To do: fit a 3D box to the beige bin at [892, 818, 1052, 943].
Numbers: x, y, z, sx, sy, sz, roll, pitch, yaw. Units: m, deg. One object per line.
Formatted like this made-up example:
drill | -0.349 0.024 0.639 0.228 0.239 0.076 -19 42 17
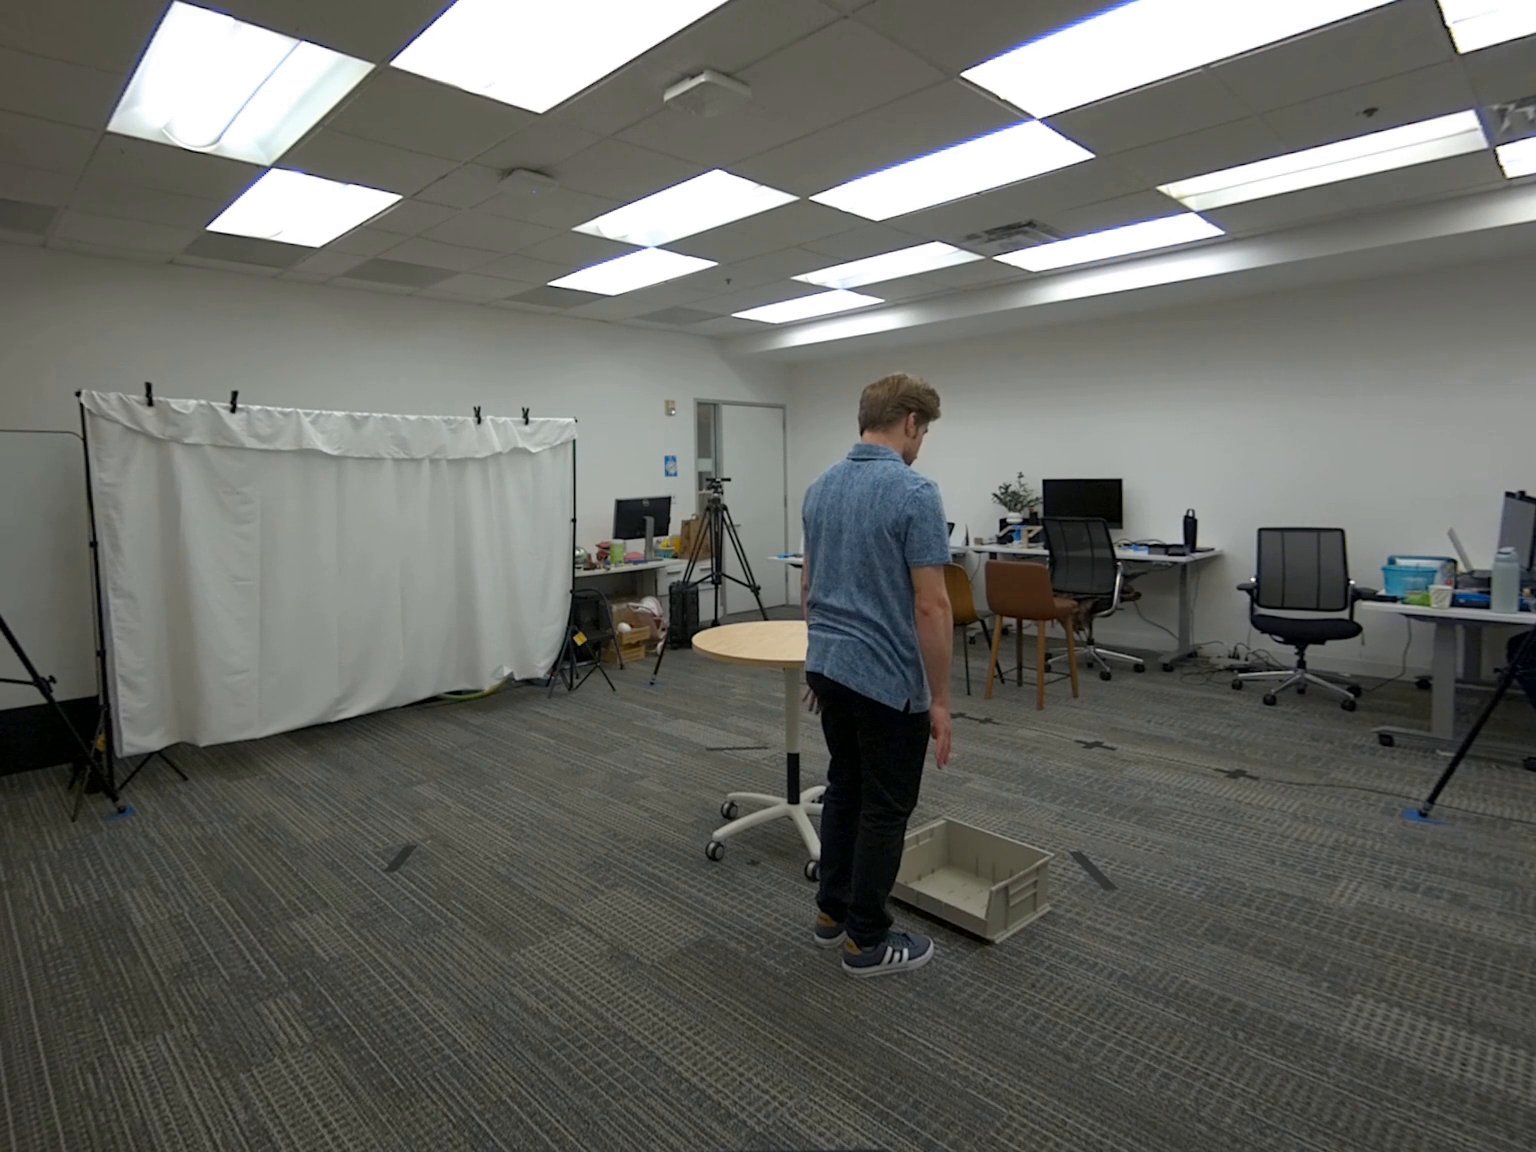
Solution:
beige bin | 0.640 0.983 2.774 0.367 0.188 0.435 -5 7 -41
